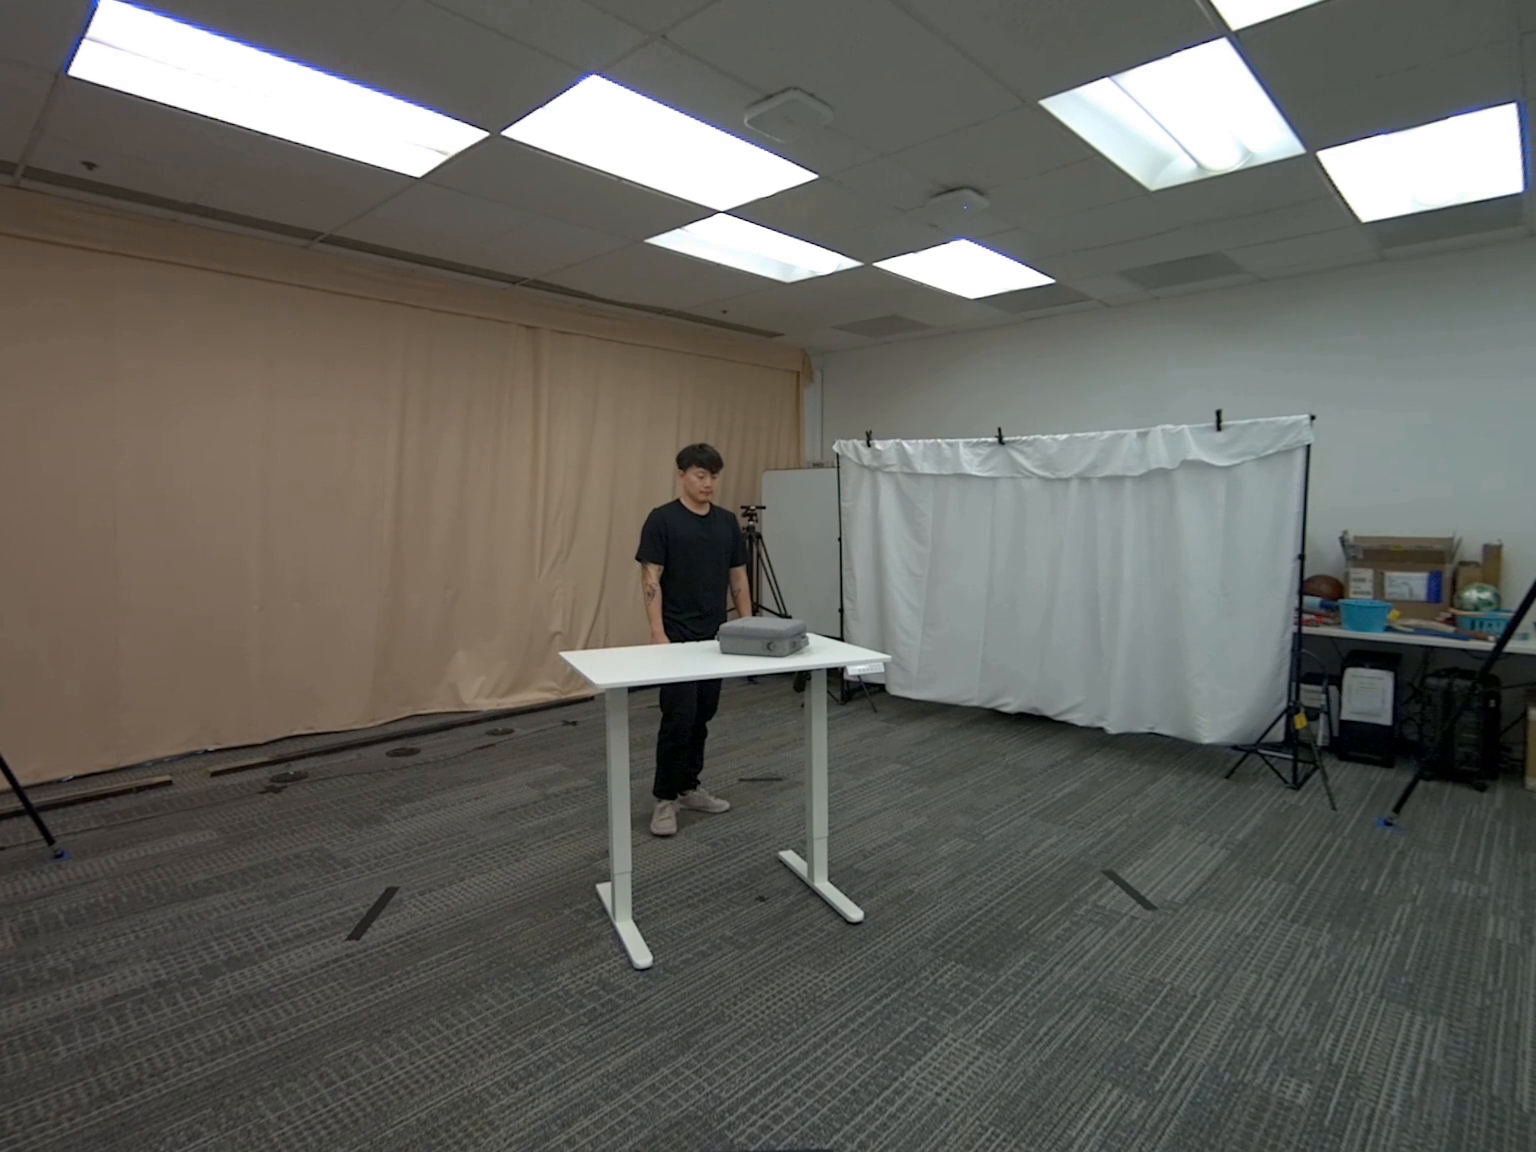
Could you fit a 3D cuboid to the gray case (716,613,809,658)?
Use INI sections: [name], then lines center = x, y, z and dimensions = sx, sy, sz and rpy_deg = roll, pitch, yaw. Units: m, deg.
[gray case]
center = -0.007, 0.210, 2.952
dimensions = 0.267, 0.104, 0.251
rpy_deg = 2, 4, 22
